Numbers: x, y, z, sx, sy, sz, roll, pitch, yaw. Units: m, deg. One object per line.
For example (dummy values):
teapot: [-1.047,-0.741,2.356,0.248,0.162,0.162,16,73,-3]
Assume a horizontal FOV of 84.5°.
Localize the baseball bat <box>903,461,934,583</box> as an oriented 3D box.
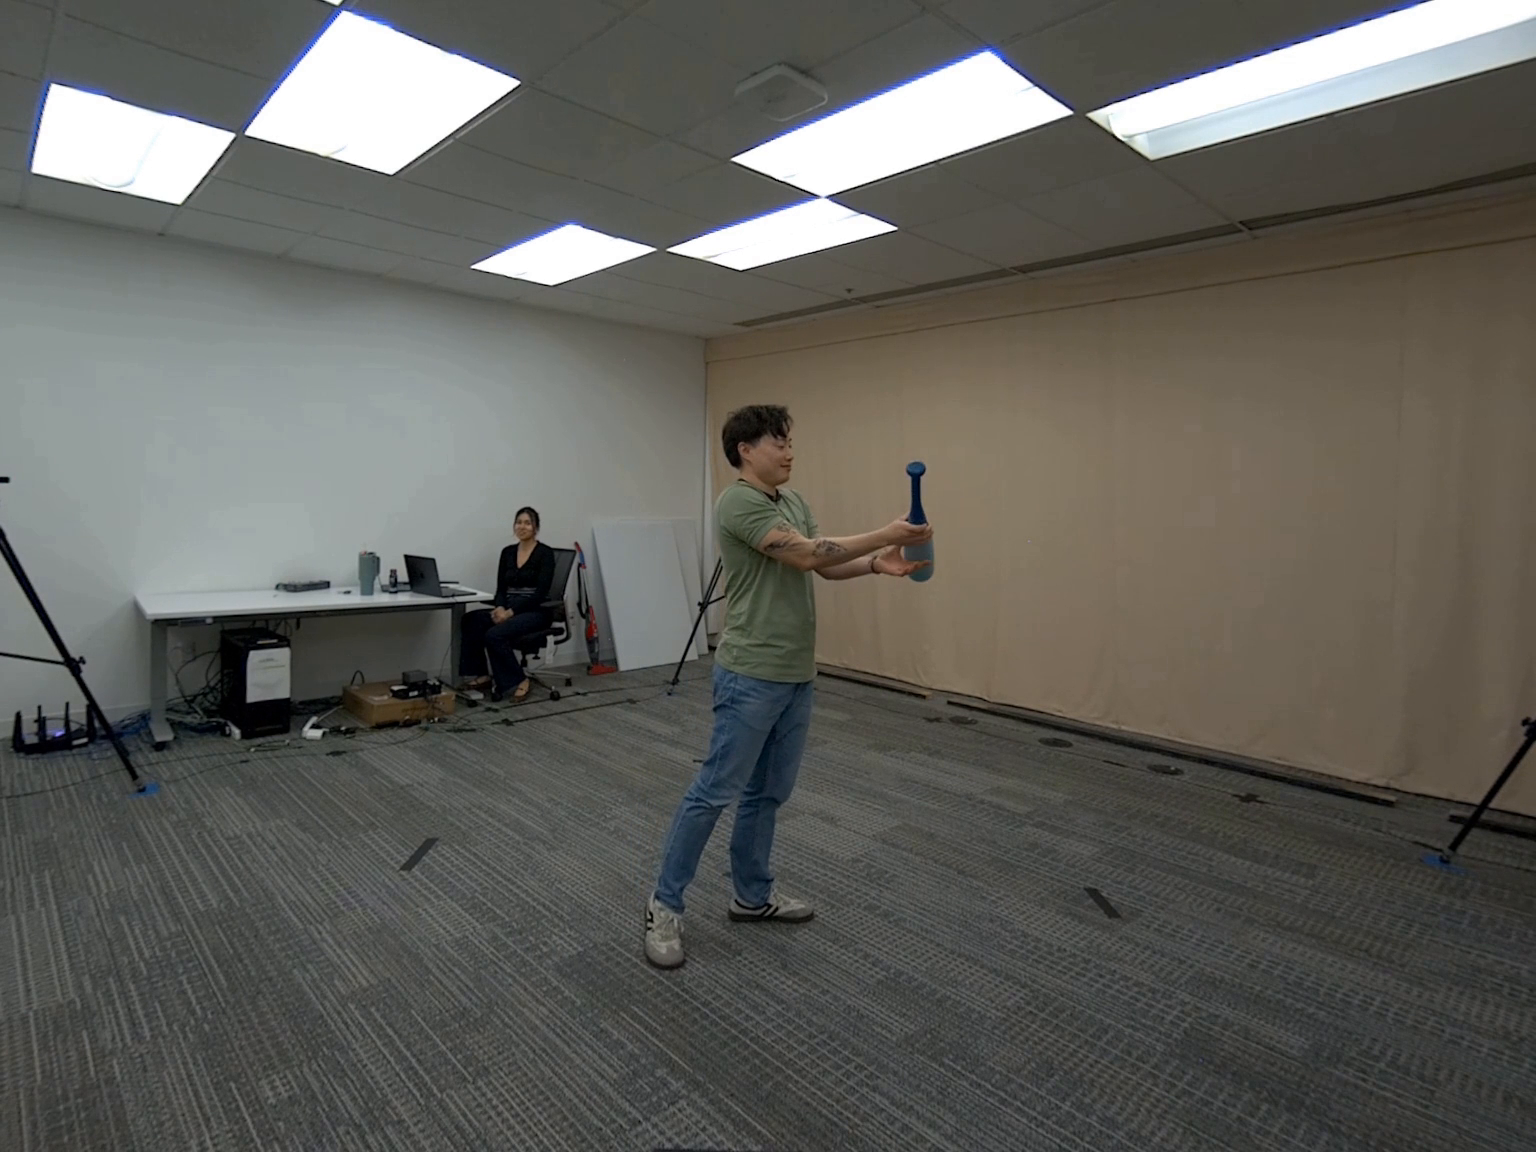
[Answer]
baseball bat: [0.426,-0.154,2.425,0.090,0.090,0.529,3,-31,13]
